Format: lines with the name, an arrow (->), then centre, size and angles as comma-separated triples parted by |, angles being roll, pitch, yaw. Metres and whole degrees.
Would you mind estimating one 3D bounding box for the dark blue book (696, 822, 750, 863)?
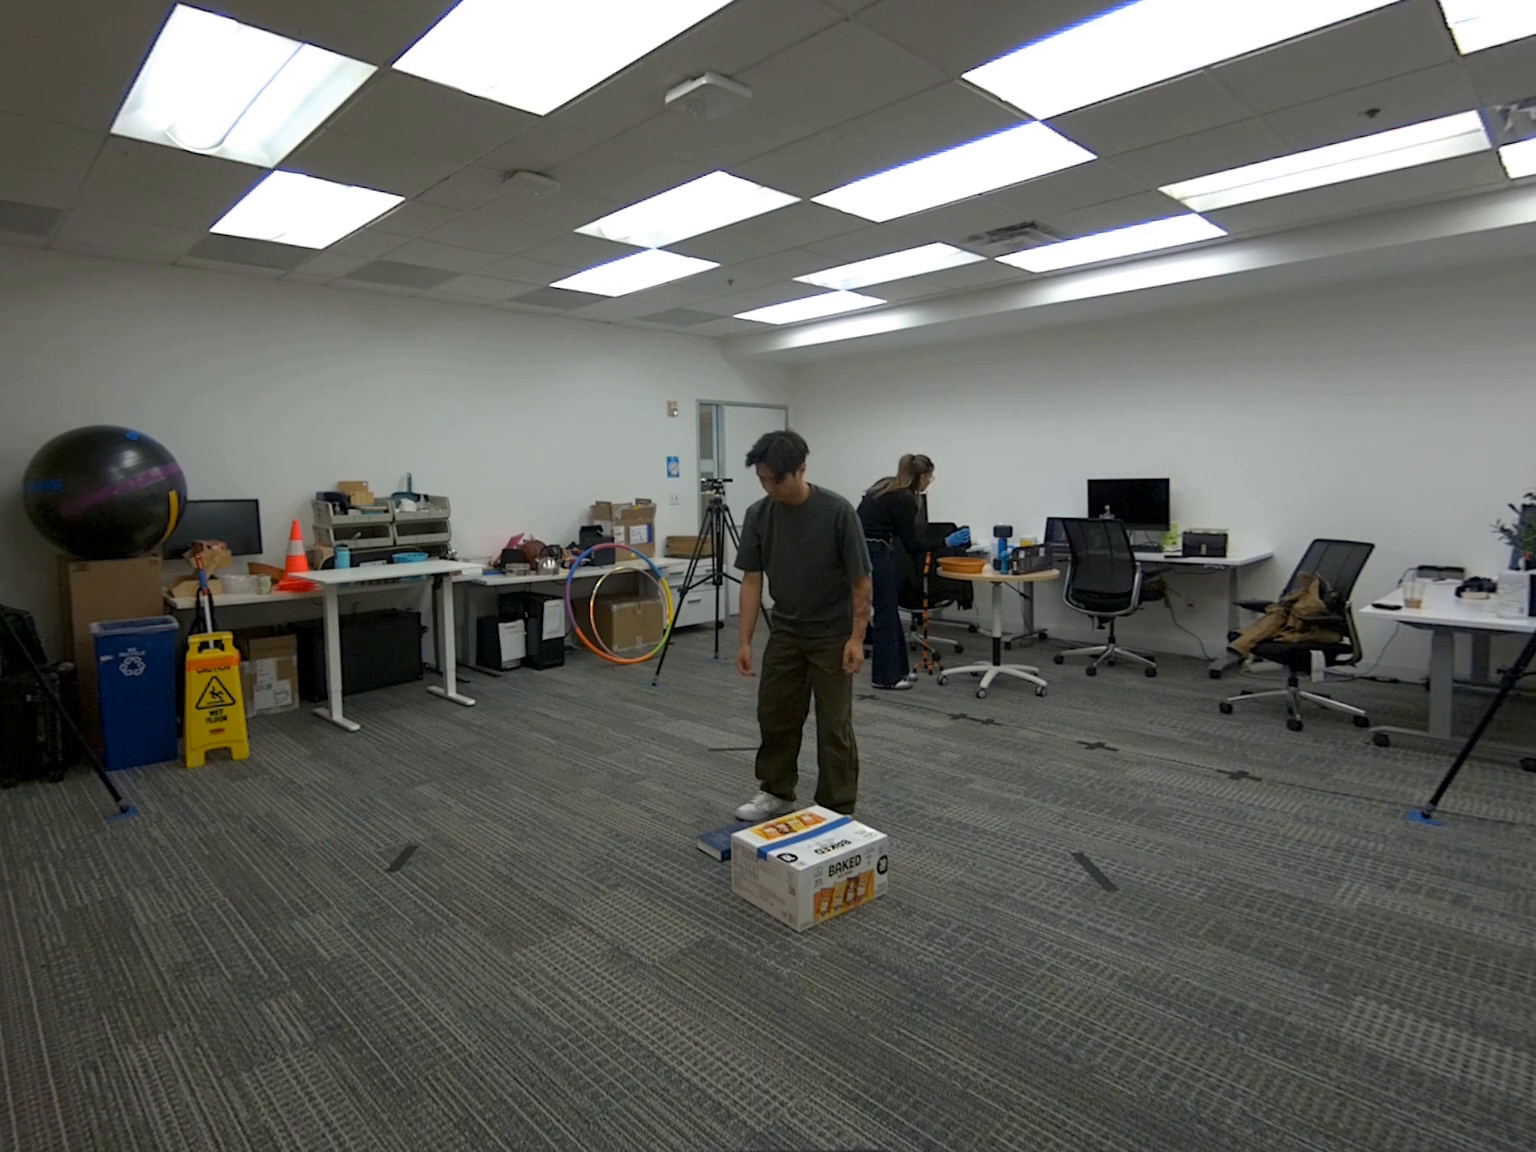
dark blue book -> -0.129, 1.010, 3.252 | 0.239, 0.045, 0.168 | -6, 8, -38
